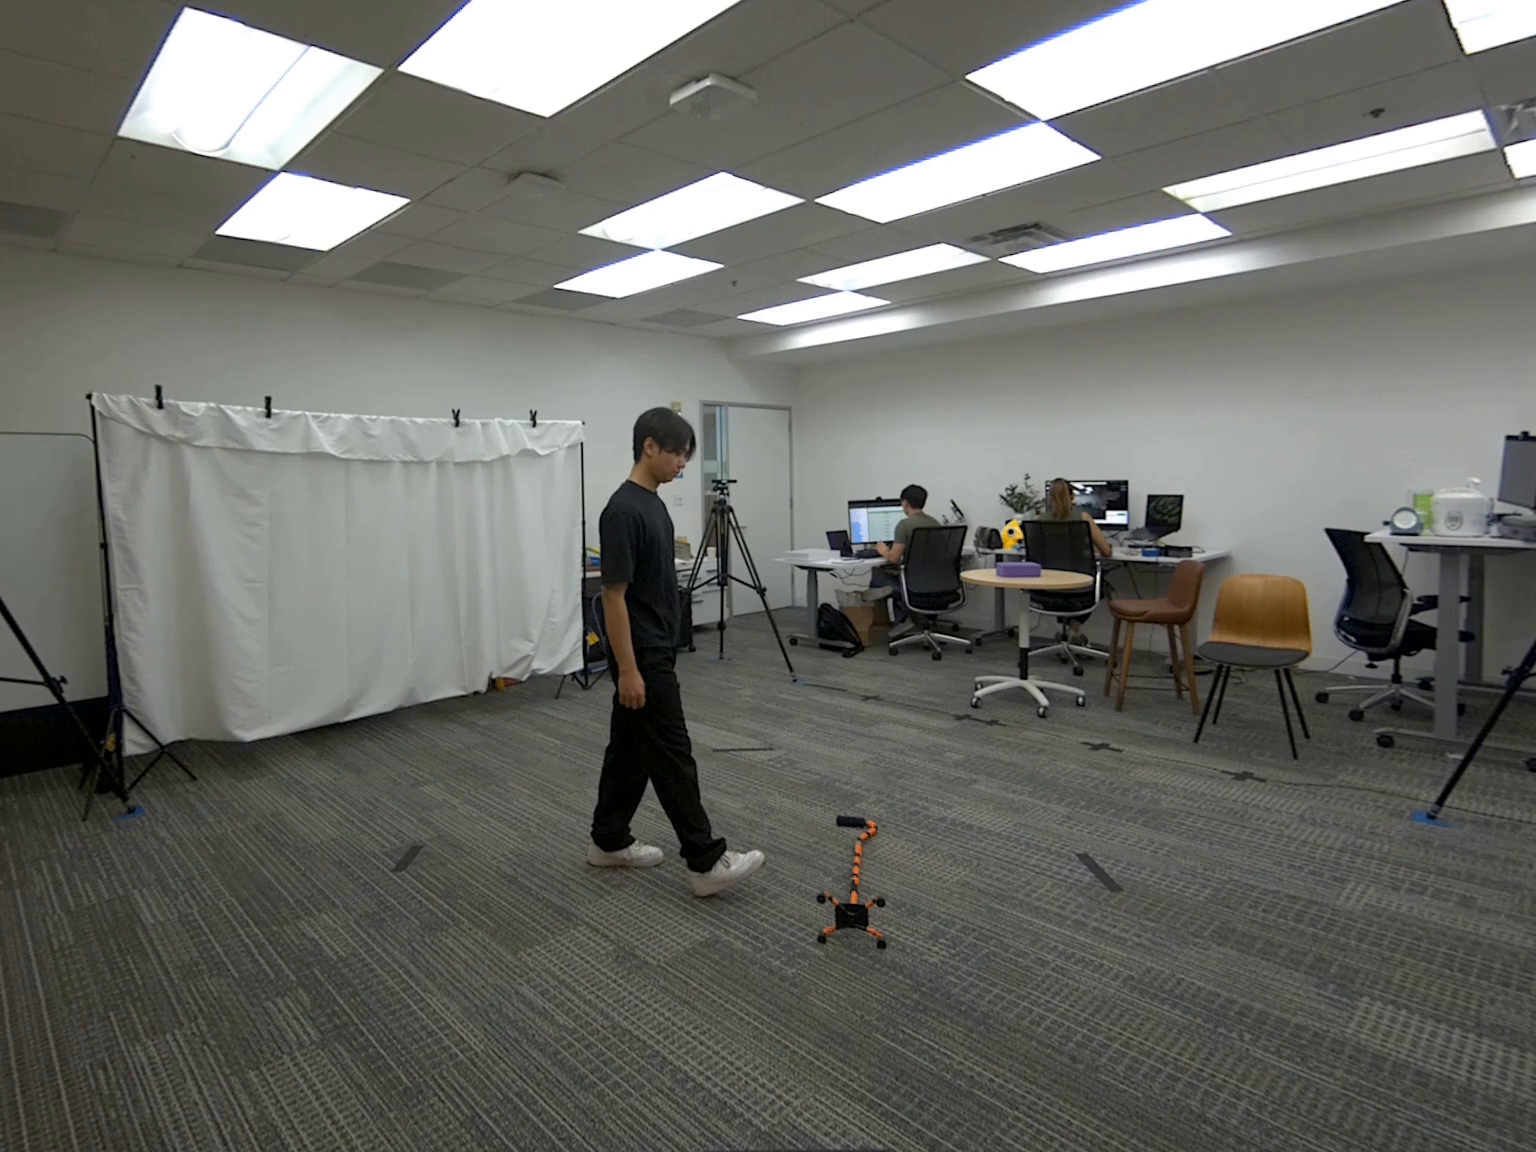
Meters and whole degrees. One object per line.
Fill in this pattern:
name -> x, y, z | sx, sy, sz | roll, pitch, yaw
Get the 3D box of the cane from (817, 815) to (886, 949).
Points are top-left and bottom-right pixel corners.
cane -> 0.315, 0.999, 2.996 | 0.208, 0.151, 0.901 | 1, 3, 8
